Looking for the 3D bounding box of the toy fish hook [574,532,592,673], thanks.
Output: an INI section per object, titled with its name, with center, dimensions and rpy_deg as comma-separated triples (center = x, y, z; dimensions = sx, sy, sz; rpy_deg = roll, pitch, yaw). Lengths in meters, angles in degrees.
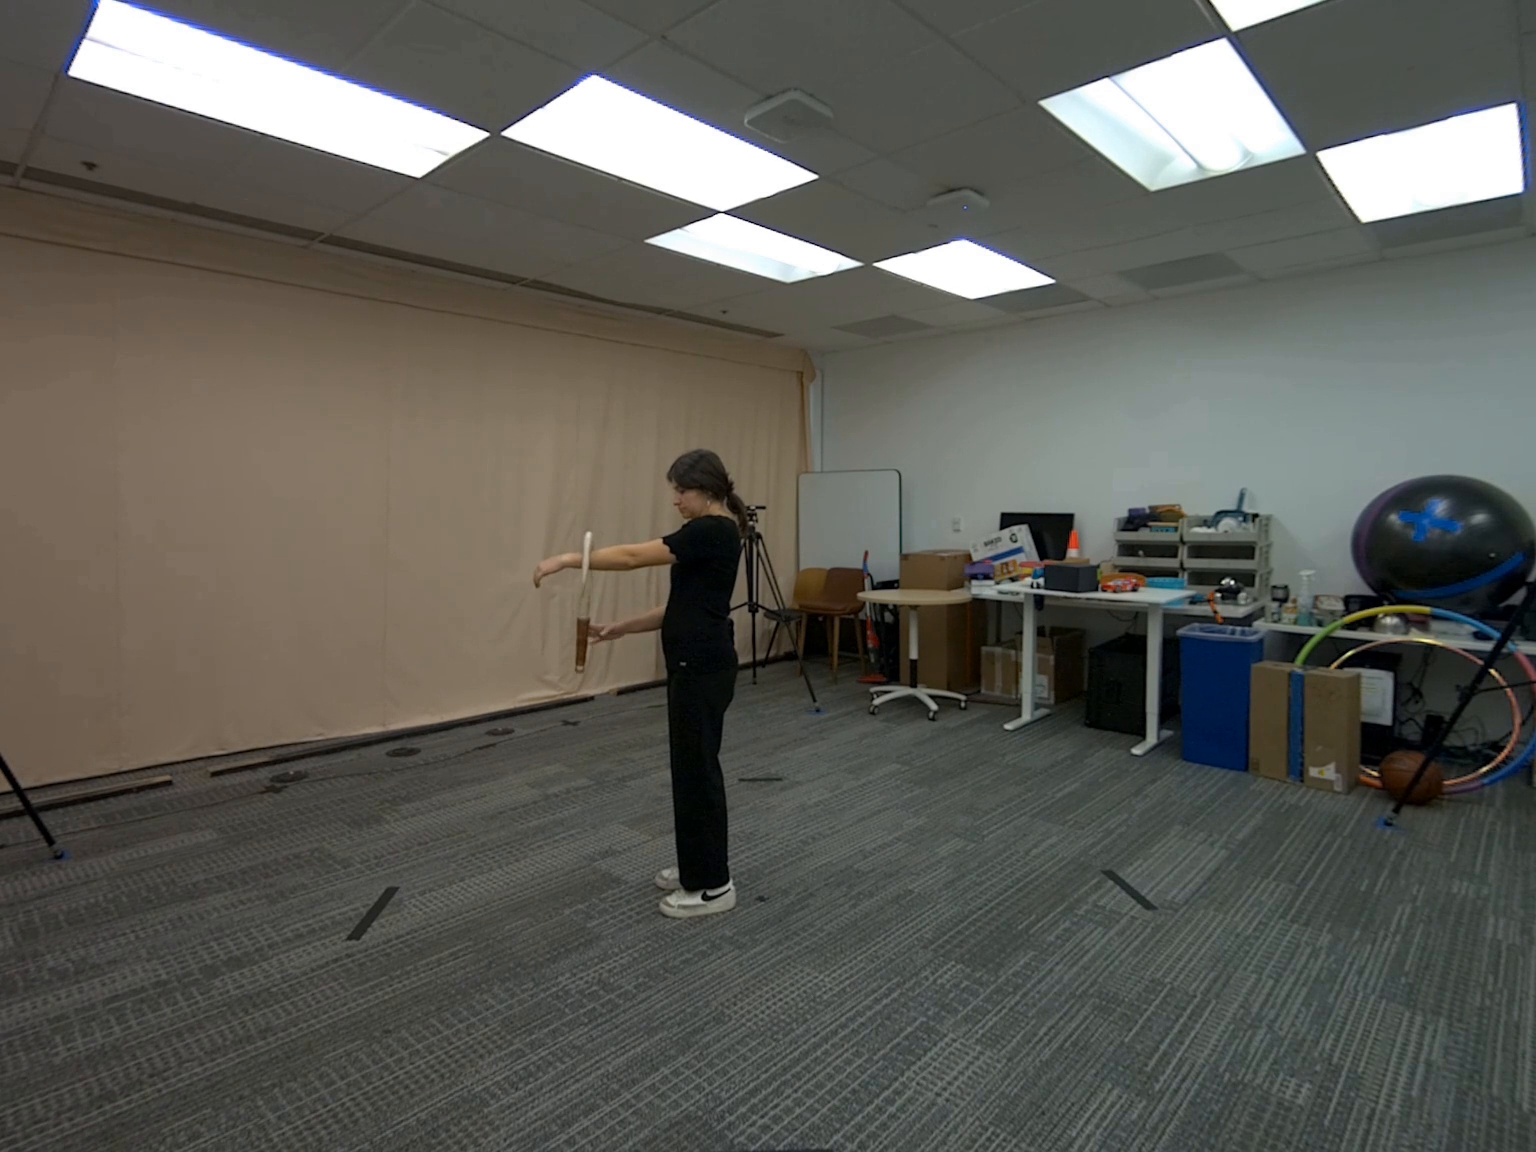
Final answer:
[toy fish hook]
center = -0.620, 0.115, 2.837
dimensions = 0.048, 0.503, 0.226
rpy_deg = 4, 13, -3
